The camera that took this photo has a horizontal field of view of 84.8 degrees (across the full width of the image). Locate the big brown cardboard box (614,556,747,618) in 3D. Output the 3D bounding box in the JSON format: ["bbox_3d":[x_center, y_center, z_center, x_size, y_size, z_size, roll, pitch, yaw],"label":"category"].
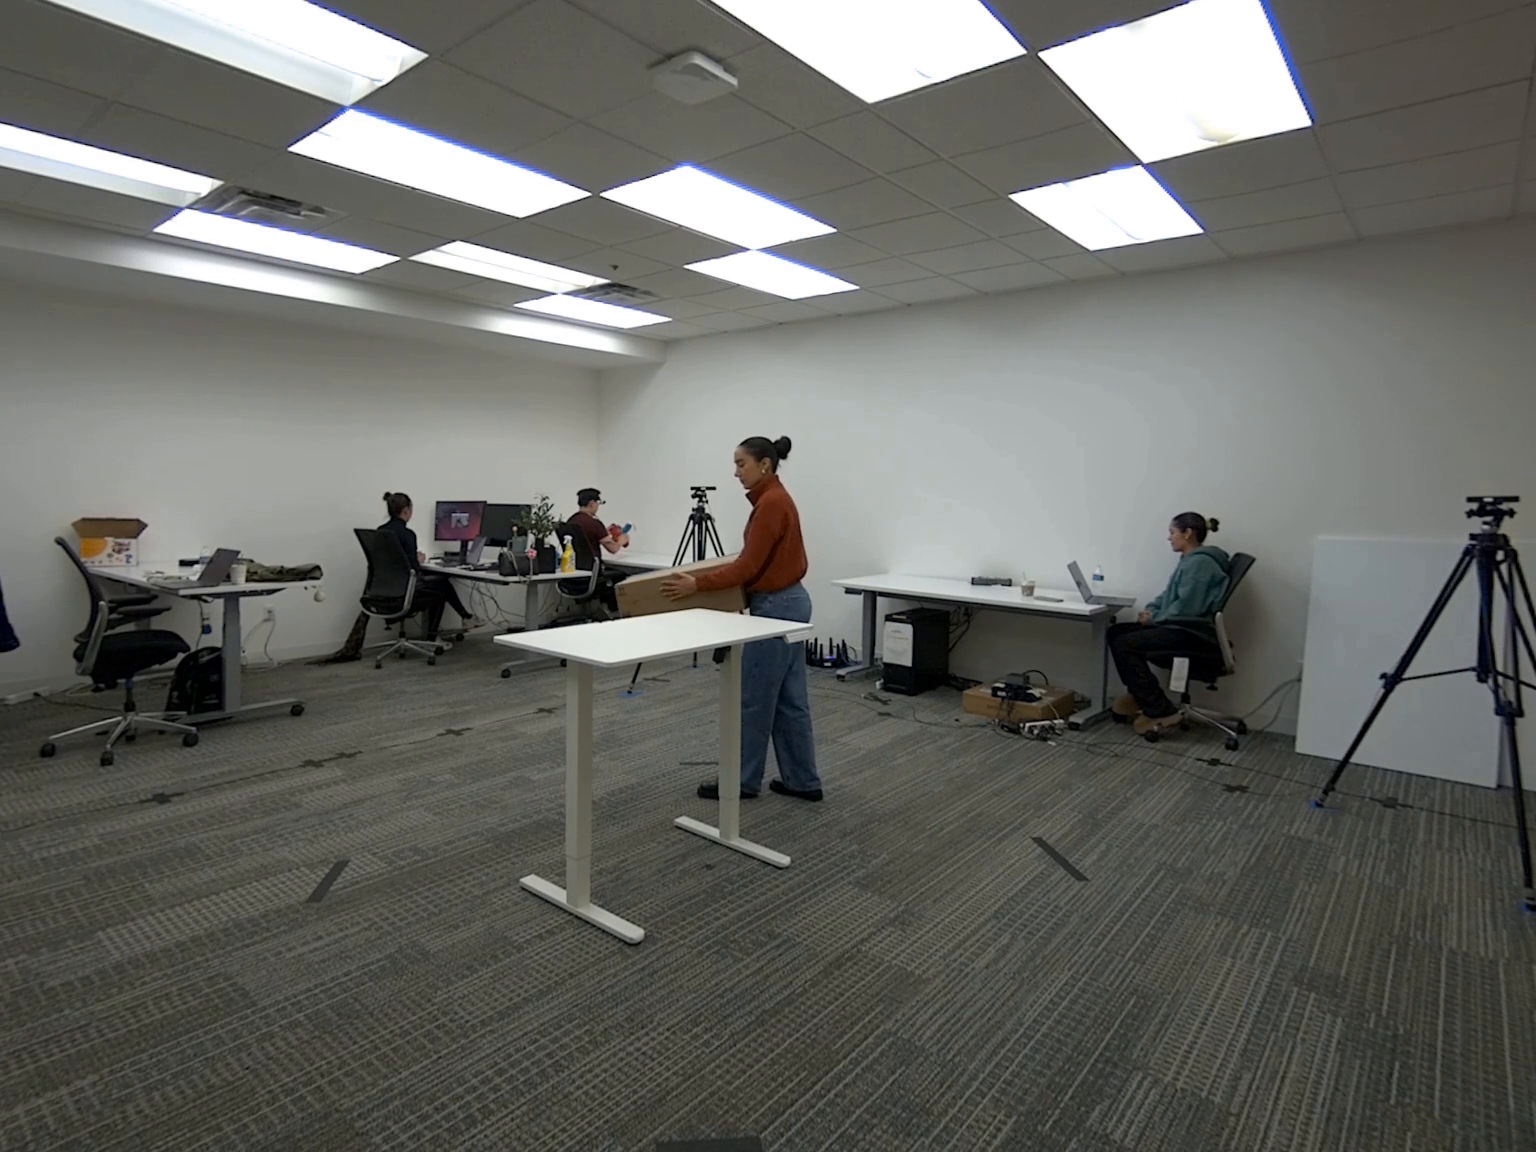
[{"bbox_3d":[-0.372,0.061,3.928,0.595,0.233,0.413,-11,2,12],"label":"big brown cardboard box"}]
